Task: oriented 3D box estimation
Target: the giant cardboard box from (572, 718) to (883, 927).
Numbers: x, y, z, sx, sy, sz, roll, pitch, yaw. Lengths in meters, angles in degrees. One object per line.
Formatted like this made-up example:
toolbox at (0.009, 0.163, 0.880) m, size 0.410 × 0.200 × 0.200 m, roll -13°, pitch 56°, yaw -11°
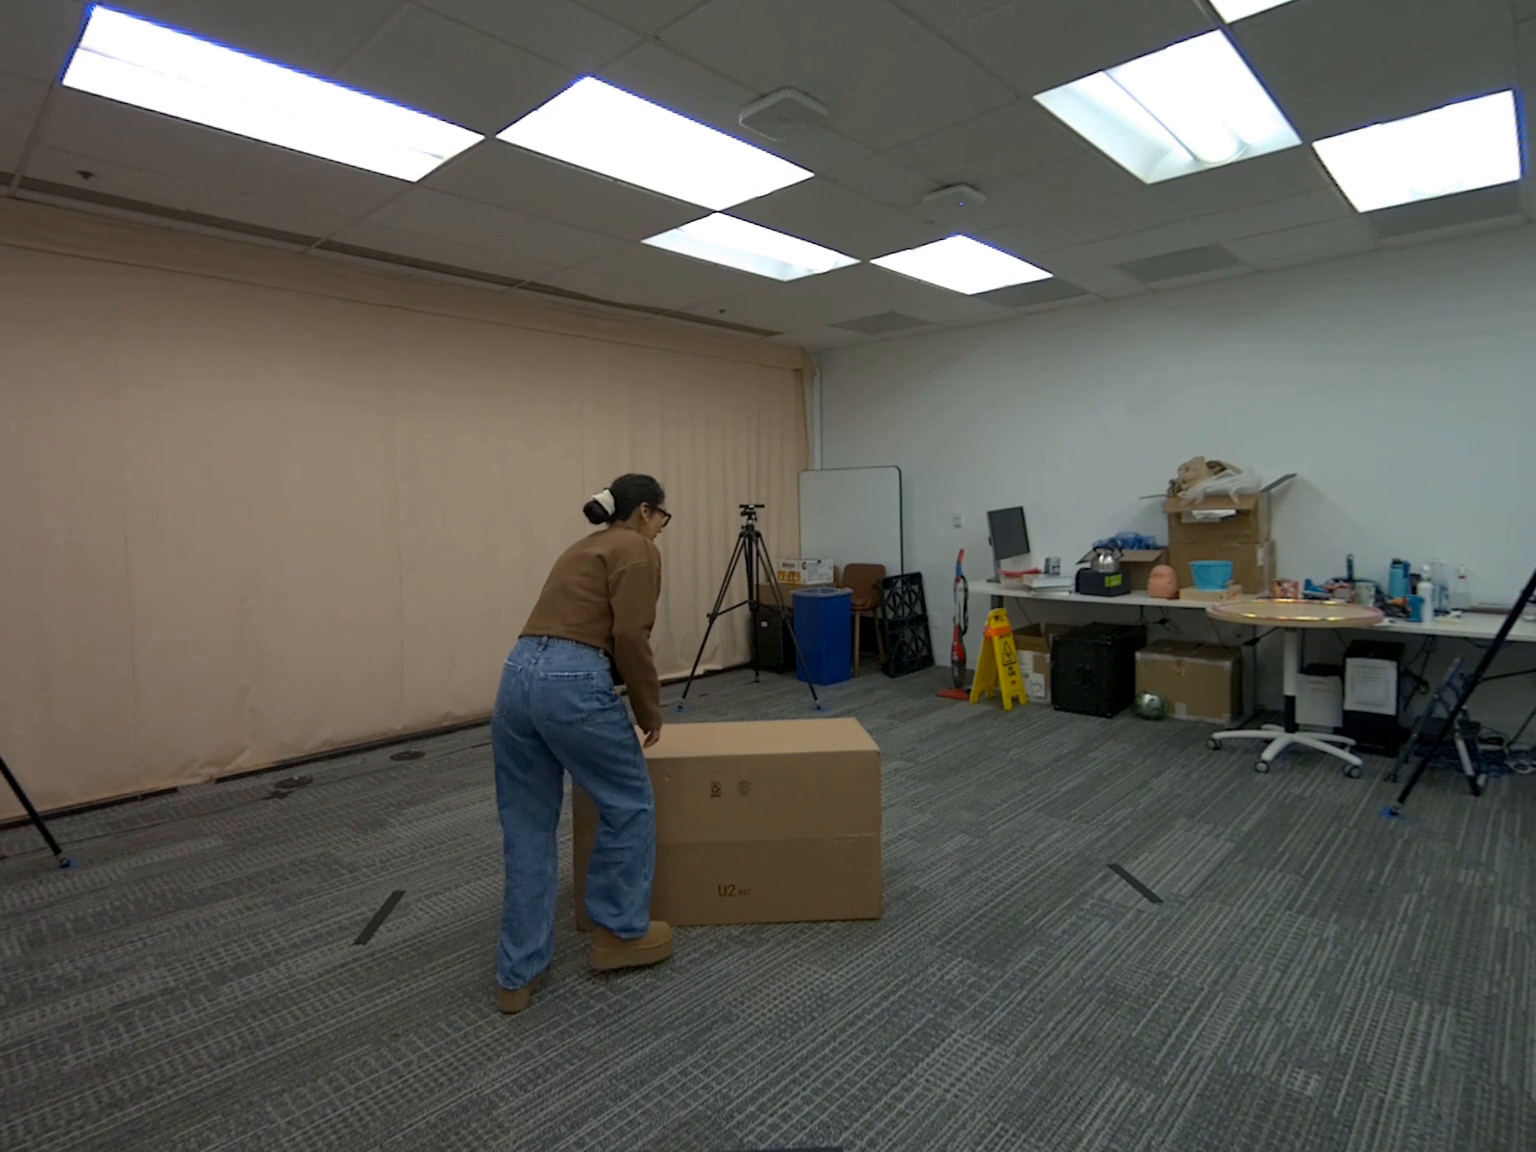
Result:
giant cardboard box at (-0.148, 0.857, 2.989) m, size 1.026 × 0.582 × 0.449 m, roll -1°, pitch 5°, yaw -1°
